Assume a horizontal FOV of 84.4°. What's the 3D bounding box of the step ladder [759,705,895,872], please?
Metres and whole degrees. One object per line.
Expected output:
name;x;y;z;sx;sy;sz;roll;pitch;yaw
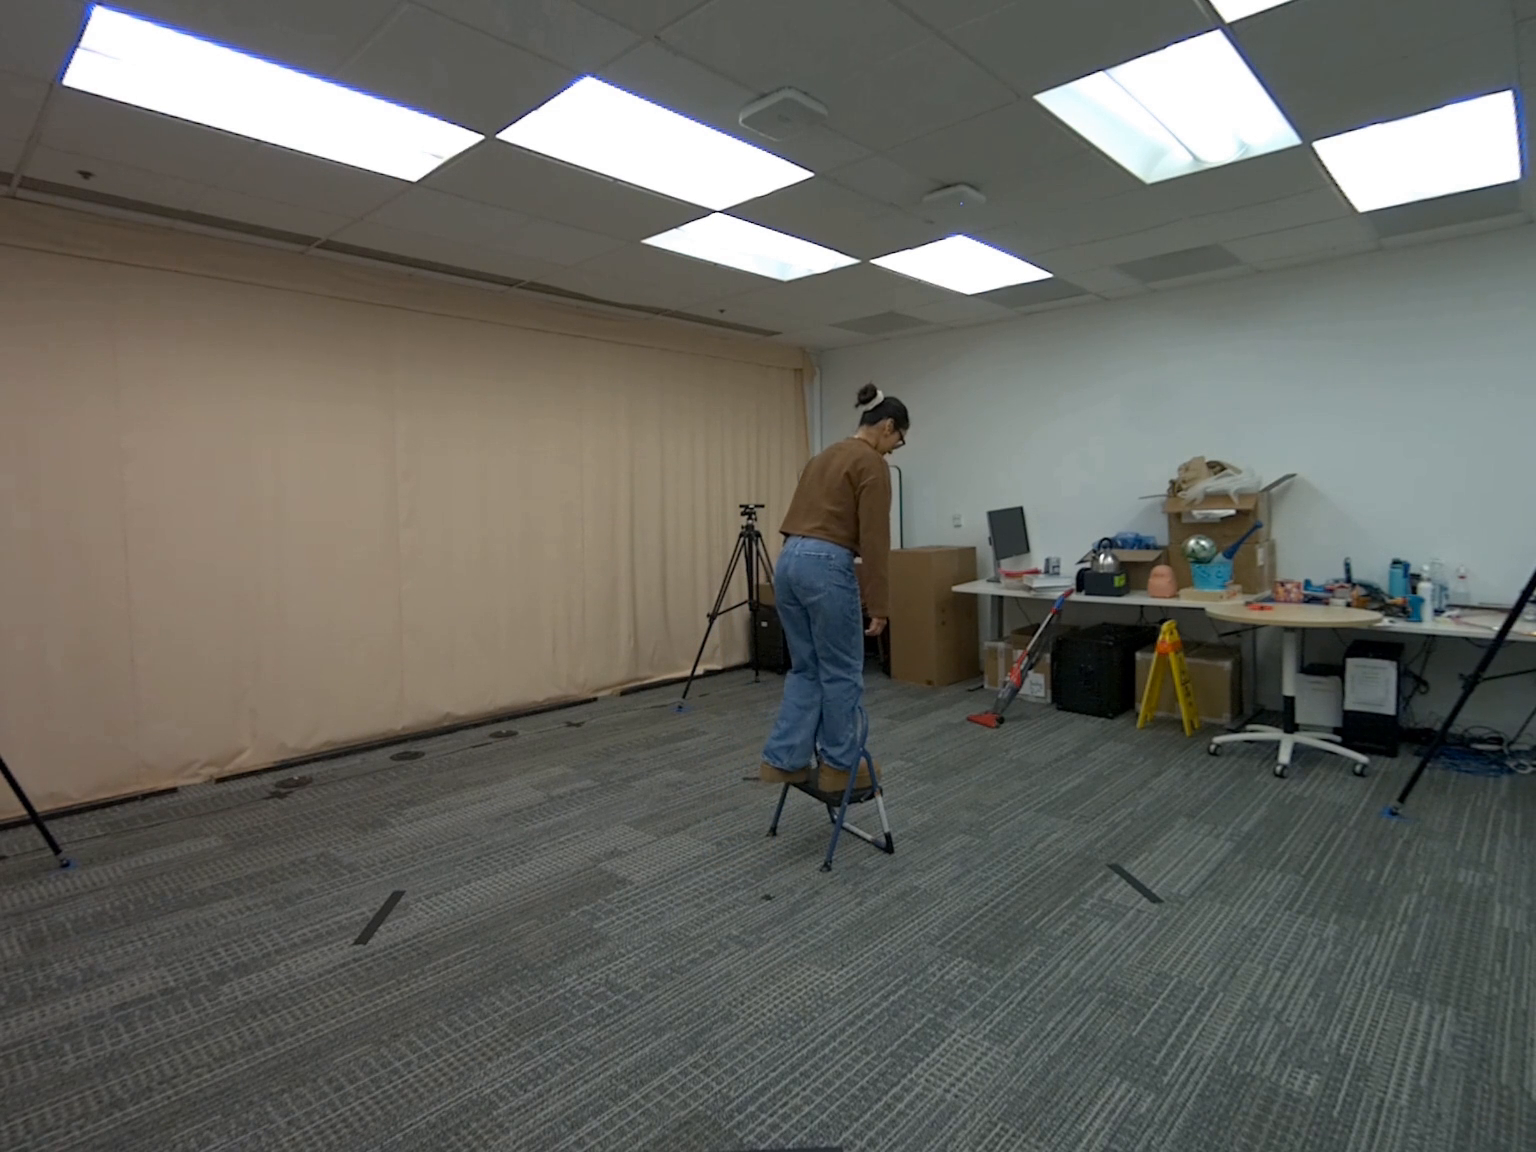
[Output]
step ladder;0.253;0.796;3.429;0.340;0.605;0.443;-2;3;-30
